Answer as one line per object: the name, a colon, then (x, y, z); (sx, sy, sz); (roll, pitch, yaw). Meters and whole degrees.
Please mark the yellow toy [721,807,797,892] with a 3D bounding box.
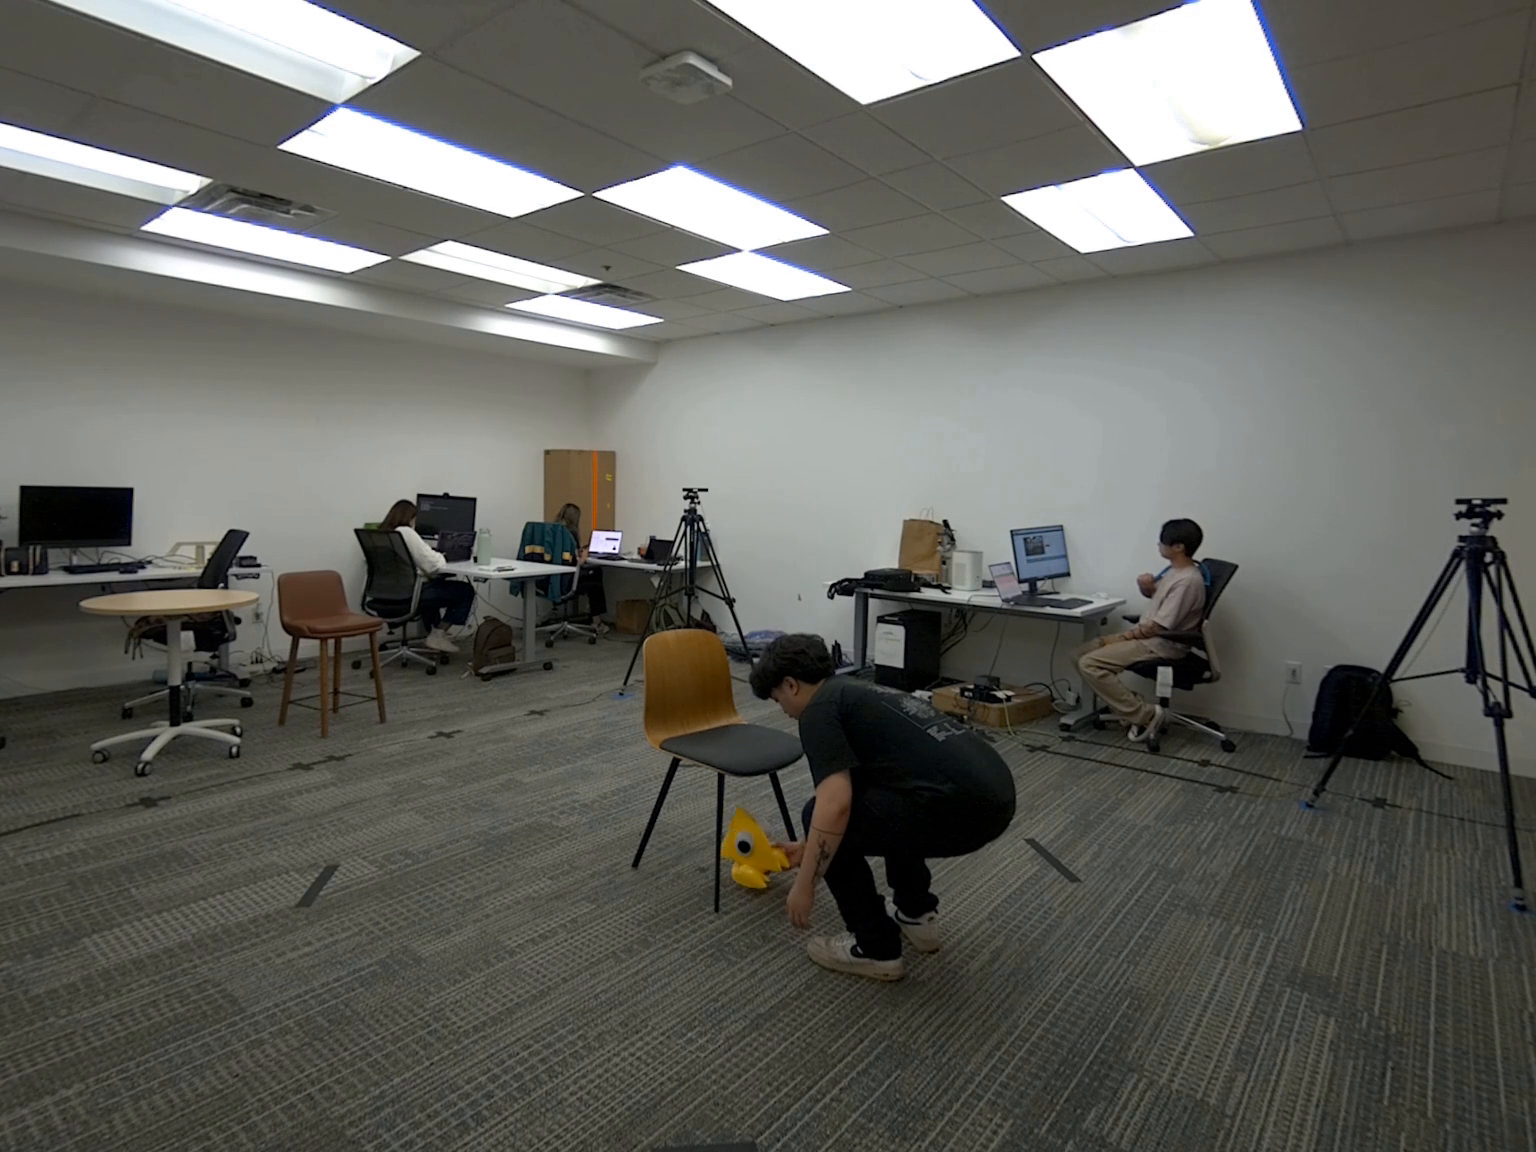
yellow toy: (-0.050, 0.913, 2.964); (0.200, 0.227, 0.201); (6, 20, 42)
